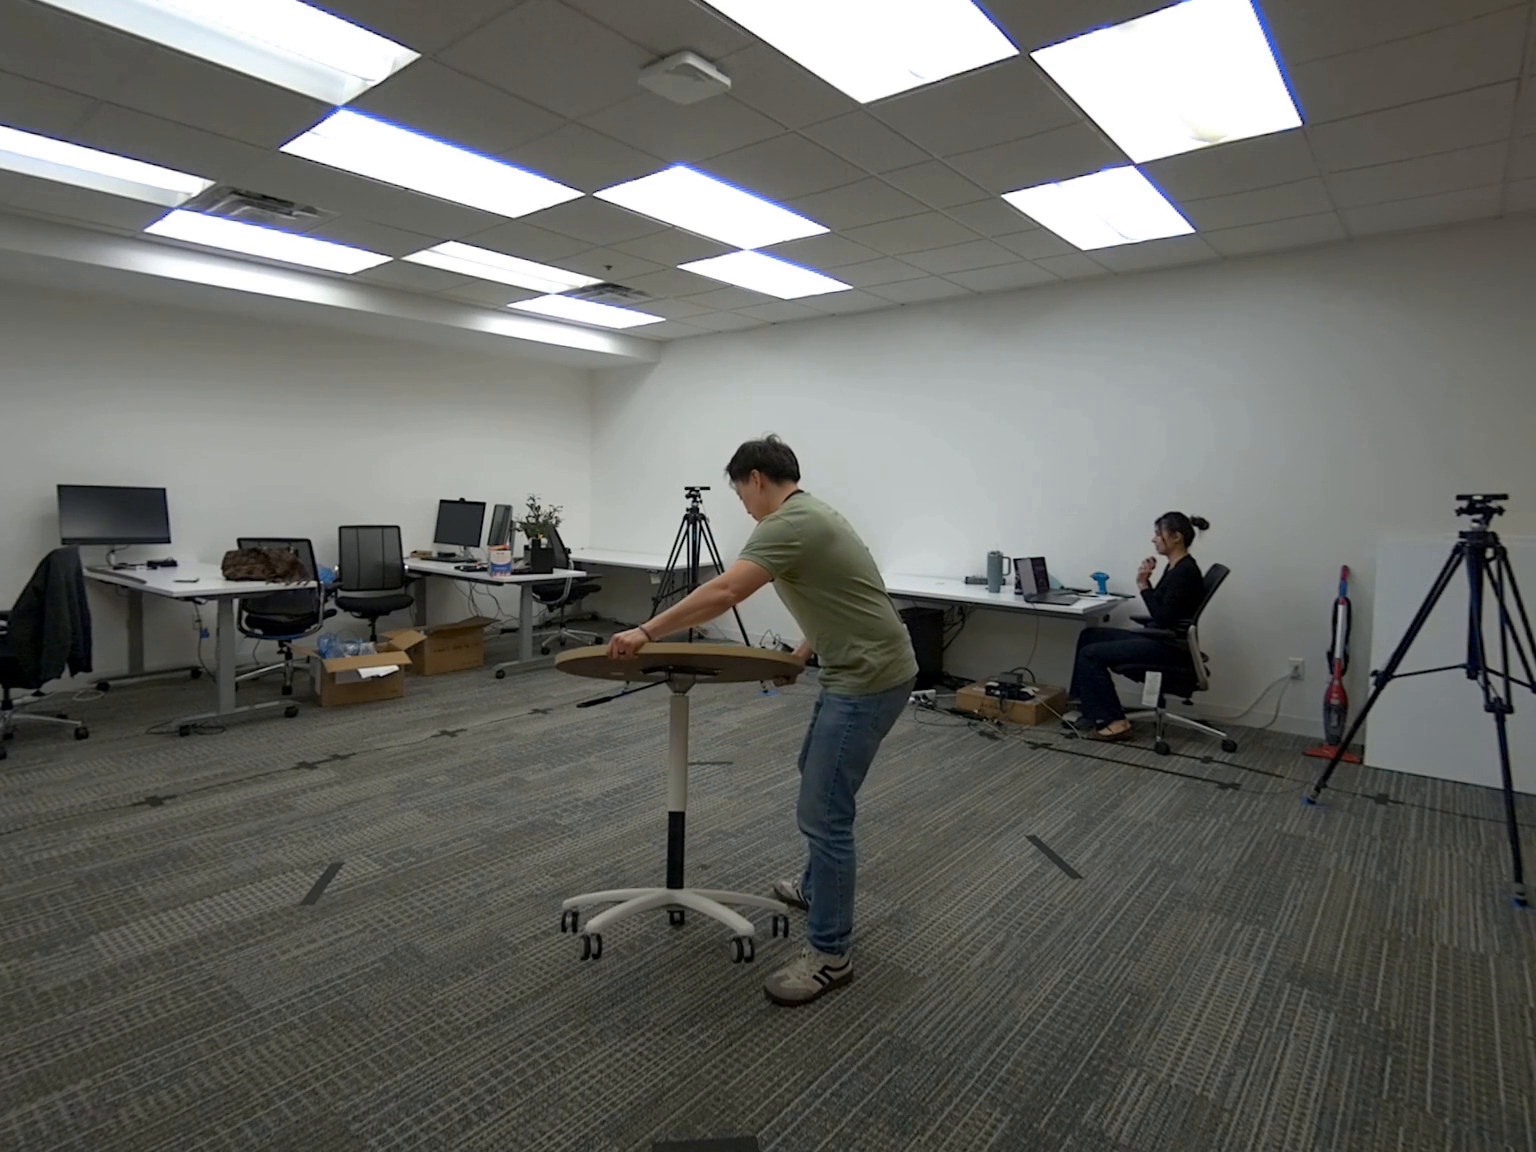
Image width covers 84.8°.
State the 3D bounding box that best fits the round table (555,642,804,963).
[{"bbox_3d":[-0.277,0.653,2.507,0.763,0.805,0.754,1,-14,-2],"label":"round table"}]
